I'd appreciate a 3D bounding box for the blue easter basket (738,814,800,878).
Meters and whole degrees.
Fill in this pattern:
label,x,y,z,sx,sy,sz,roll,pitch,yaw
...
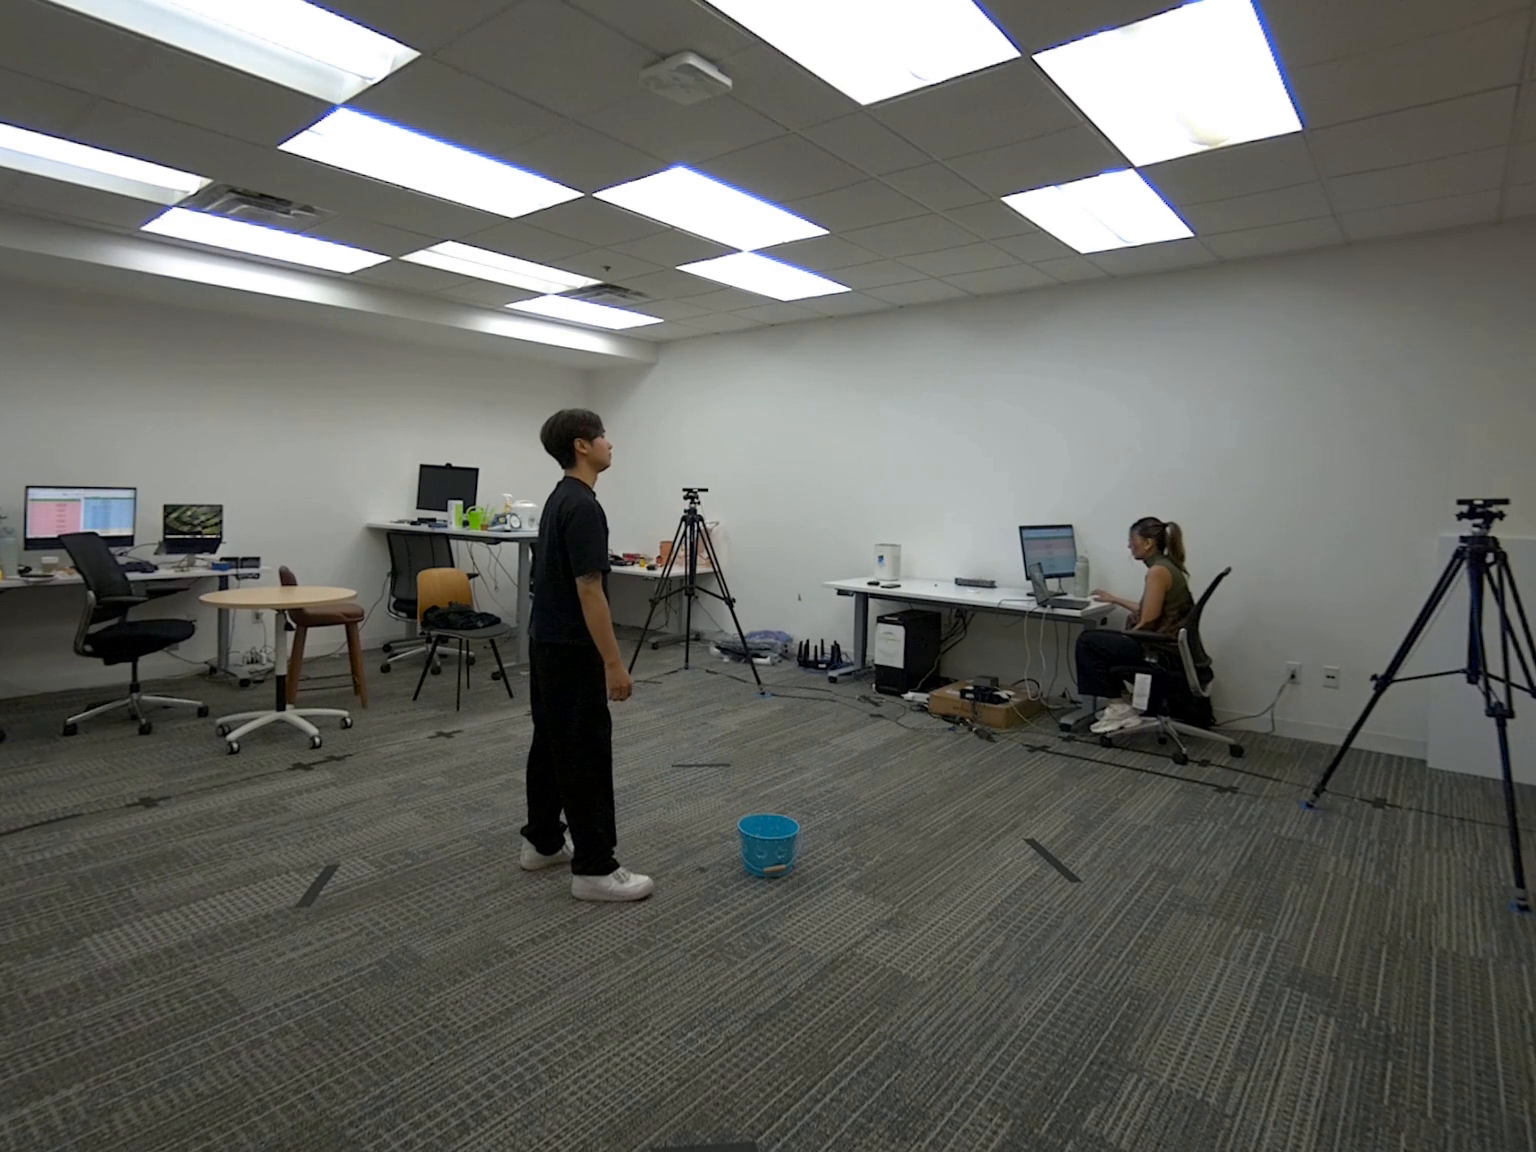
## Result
label,x,y,z,sx,sy,sz,roll,pitch,yaw
blue easter basket,-0.011,0.993,3.145,0.243,0.155,0.245,2,5,-2
